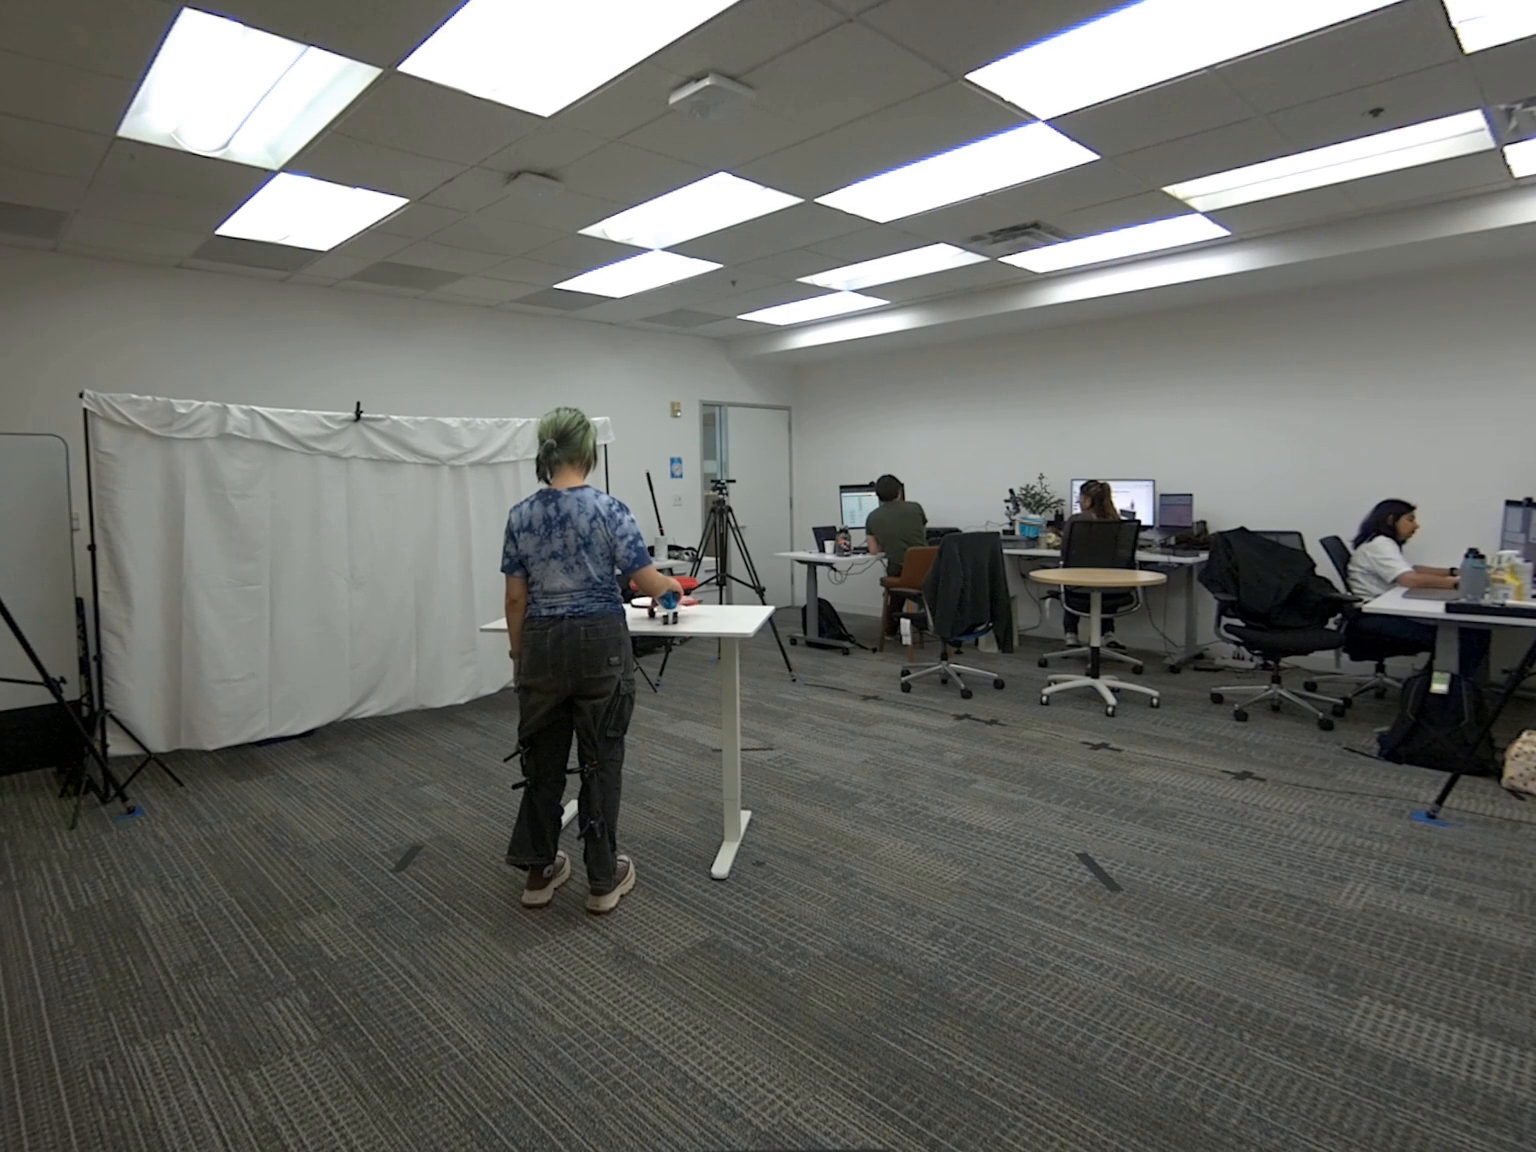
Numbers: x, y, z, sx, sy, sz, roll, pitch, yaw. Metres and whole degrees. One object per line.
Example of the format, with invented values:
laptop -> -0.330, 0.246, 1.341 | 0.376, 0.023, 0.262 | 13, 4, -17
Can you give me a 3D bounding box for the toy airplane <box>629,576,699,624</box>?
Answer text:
toy airplane -> -0.362, 0.088, 3.184 | 0.244, 0.156, 0.267 | -4, 6, -40
